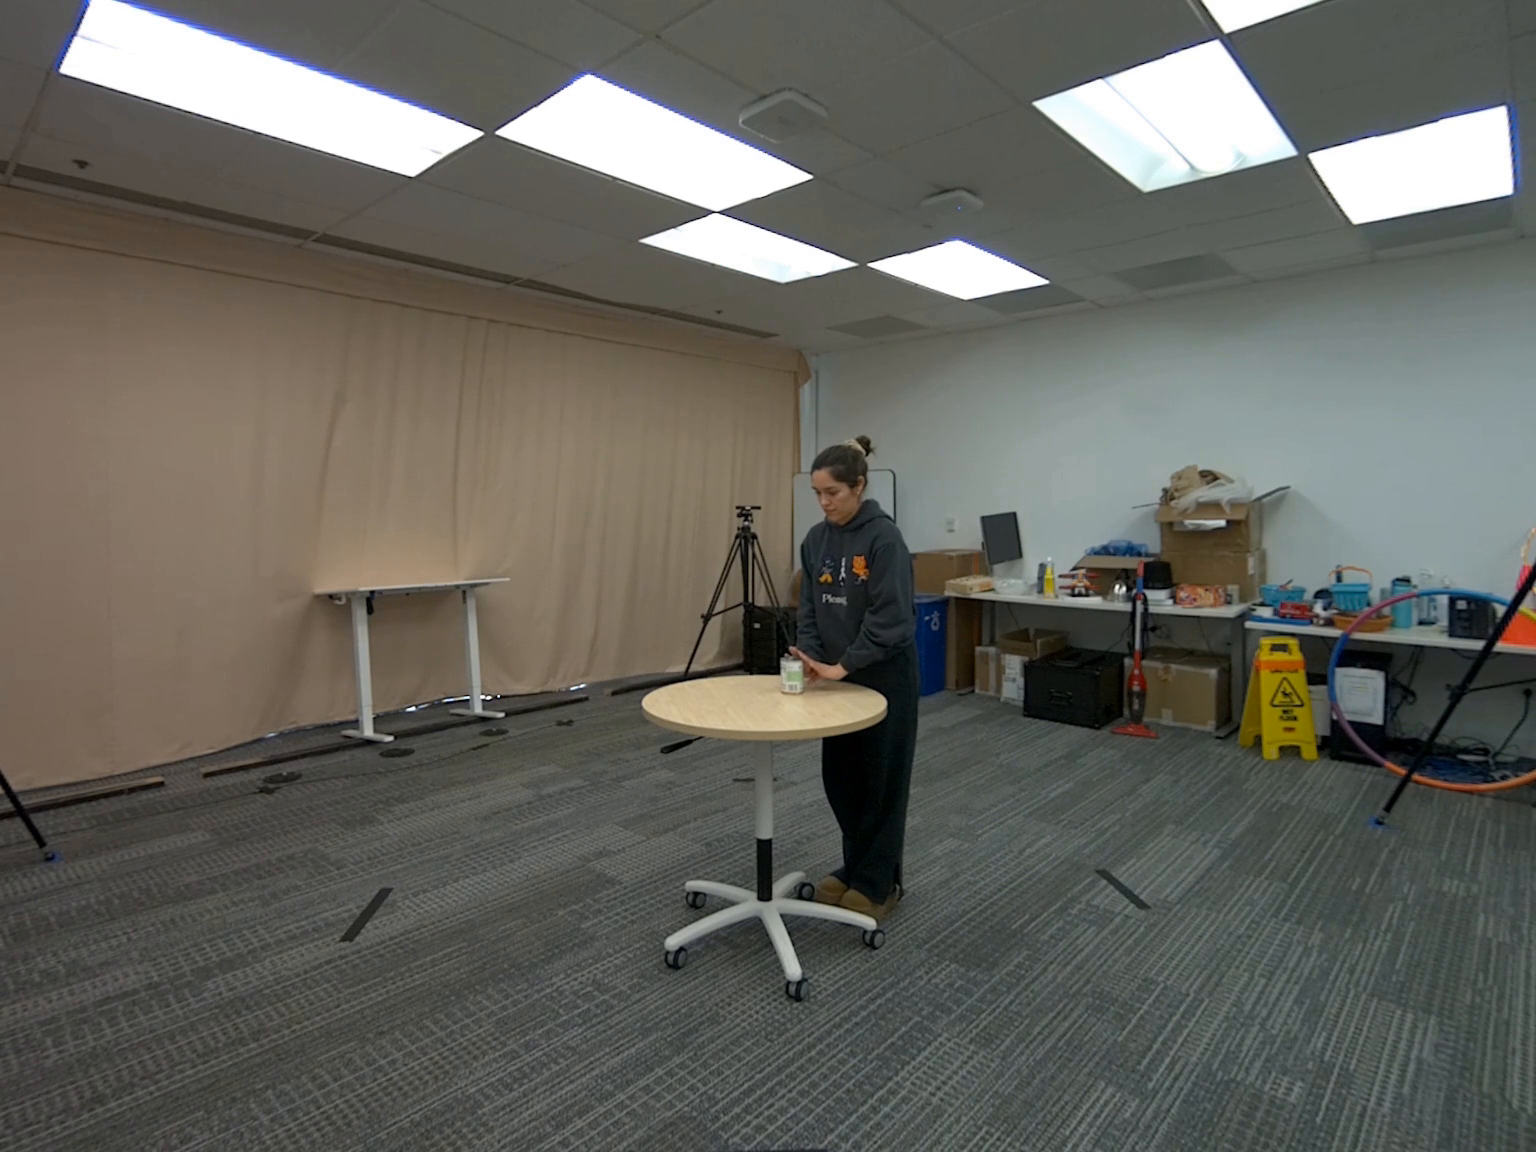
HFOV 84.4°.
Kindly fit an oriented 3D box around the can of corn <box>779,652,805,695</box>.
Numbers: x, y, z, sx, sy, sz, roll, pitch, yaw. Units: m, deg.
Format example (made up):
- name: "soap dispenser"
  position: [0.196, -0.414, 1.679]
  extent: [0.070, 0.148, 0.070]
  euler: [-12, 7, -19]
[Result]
- name: "can of corn"
  position: [0.094, 0.324, 2.737]
  extent: [0.074, 0.111, 0.074]
  euler: [-1, 5, -2]
